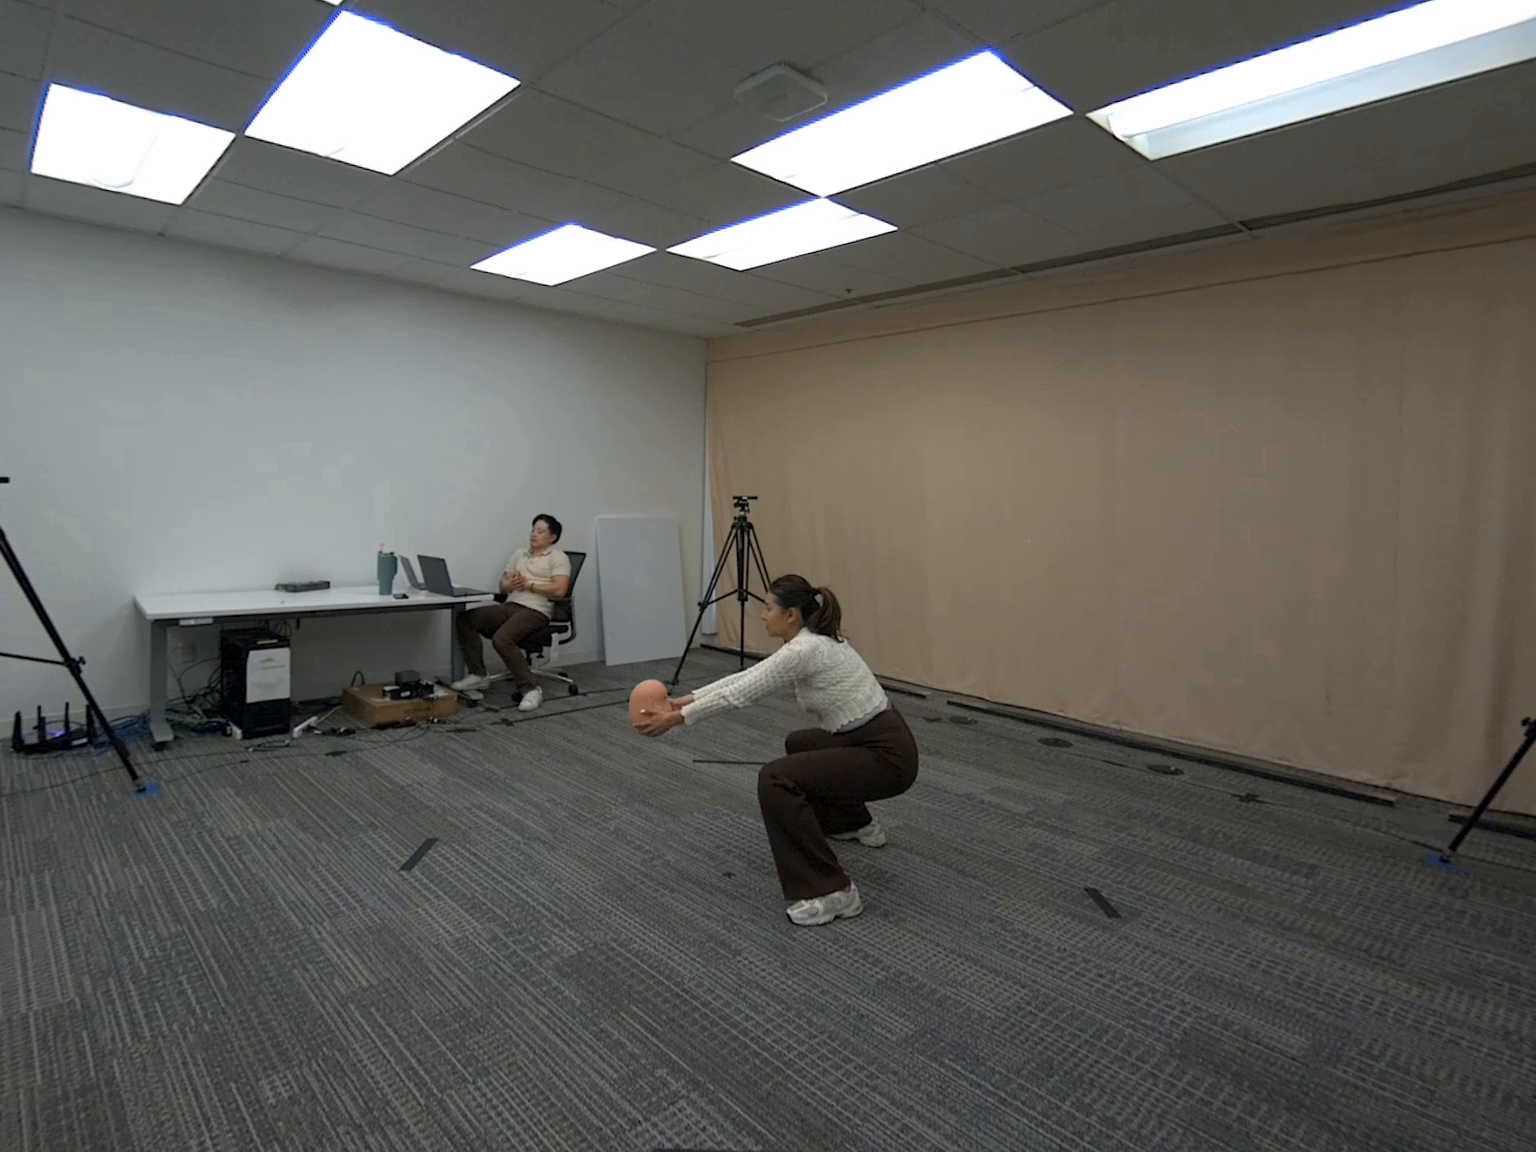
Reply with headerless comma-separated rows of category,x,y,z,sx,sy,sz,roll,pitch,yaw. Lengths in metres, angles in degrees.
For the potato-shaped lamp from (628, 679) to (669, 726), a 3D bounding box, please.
potato-shaped lamp,-0.458,0.496,3.264,0.162,0.197,0.175,-4,7,-22
